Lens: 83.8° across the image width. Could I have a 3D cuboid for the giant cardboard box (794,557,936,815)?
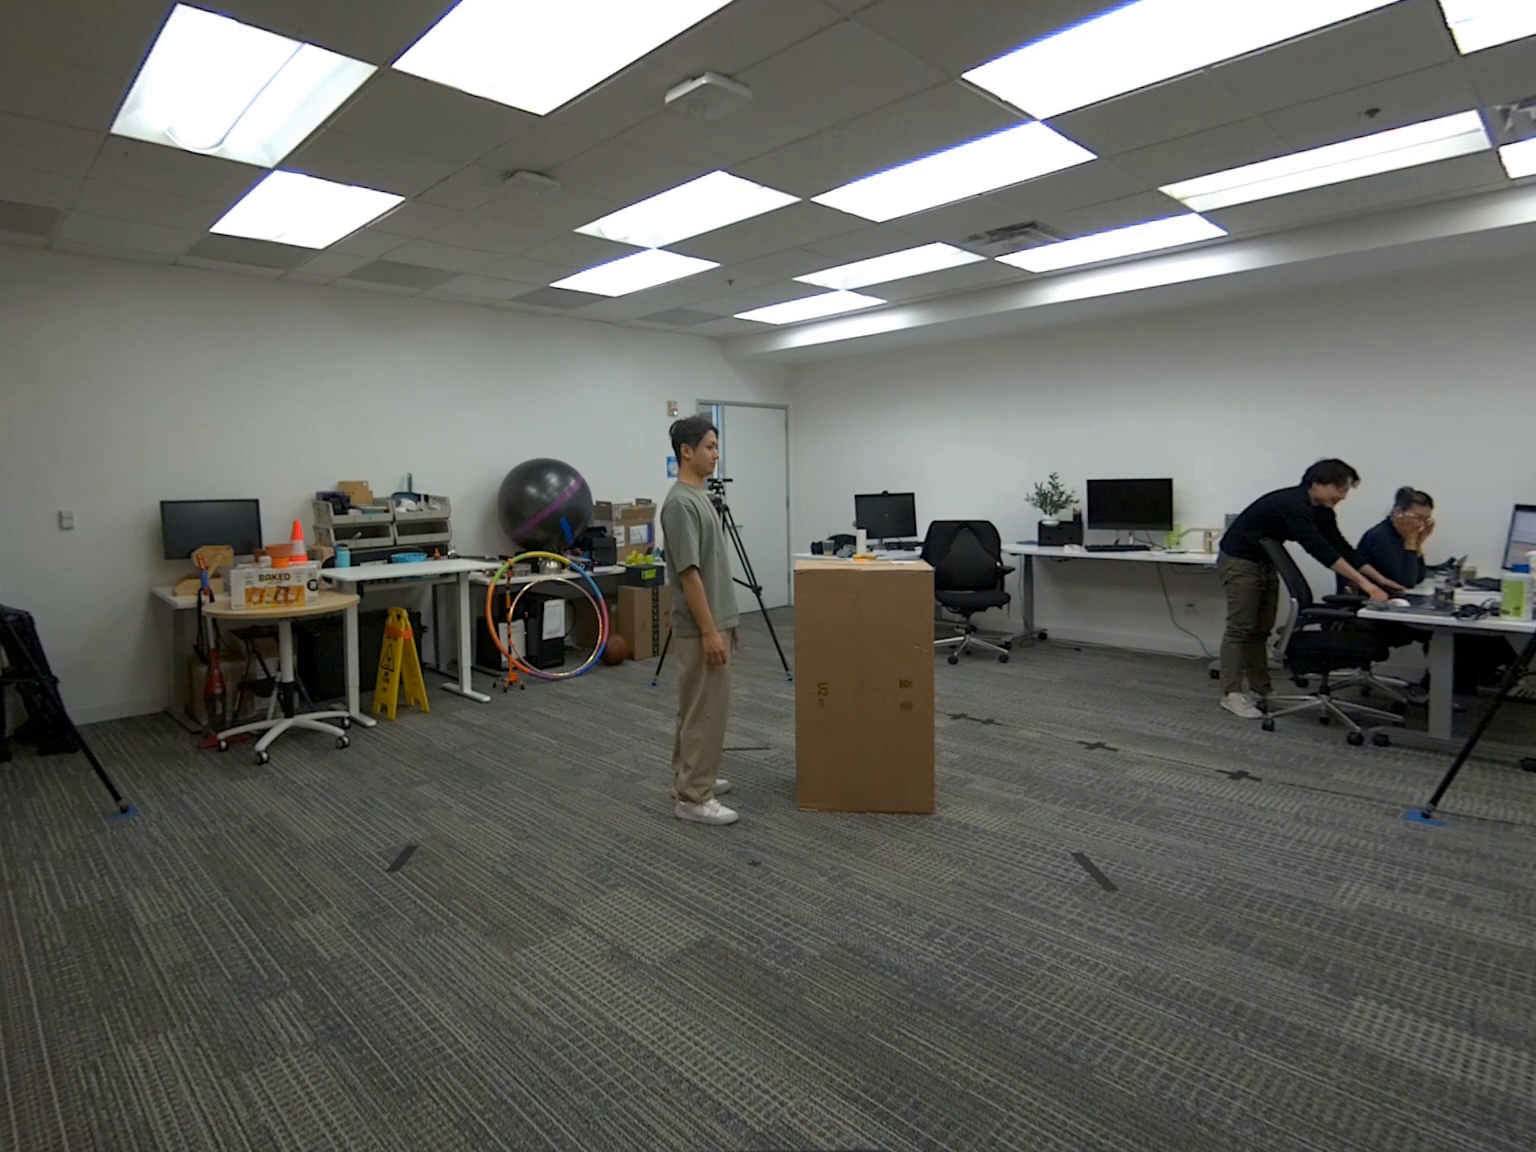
[{"bbox_3d":[0.412,0.453,3.740,0.581,1.022,0.425,-1,4,5],"label":"giant cardboard box"}]
